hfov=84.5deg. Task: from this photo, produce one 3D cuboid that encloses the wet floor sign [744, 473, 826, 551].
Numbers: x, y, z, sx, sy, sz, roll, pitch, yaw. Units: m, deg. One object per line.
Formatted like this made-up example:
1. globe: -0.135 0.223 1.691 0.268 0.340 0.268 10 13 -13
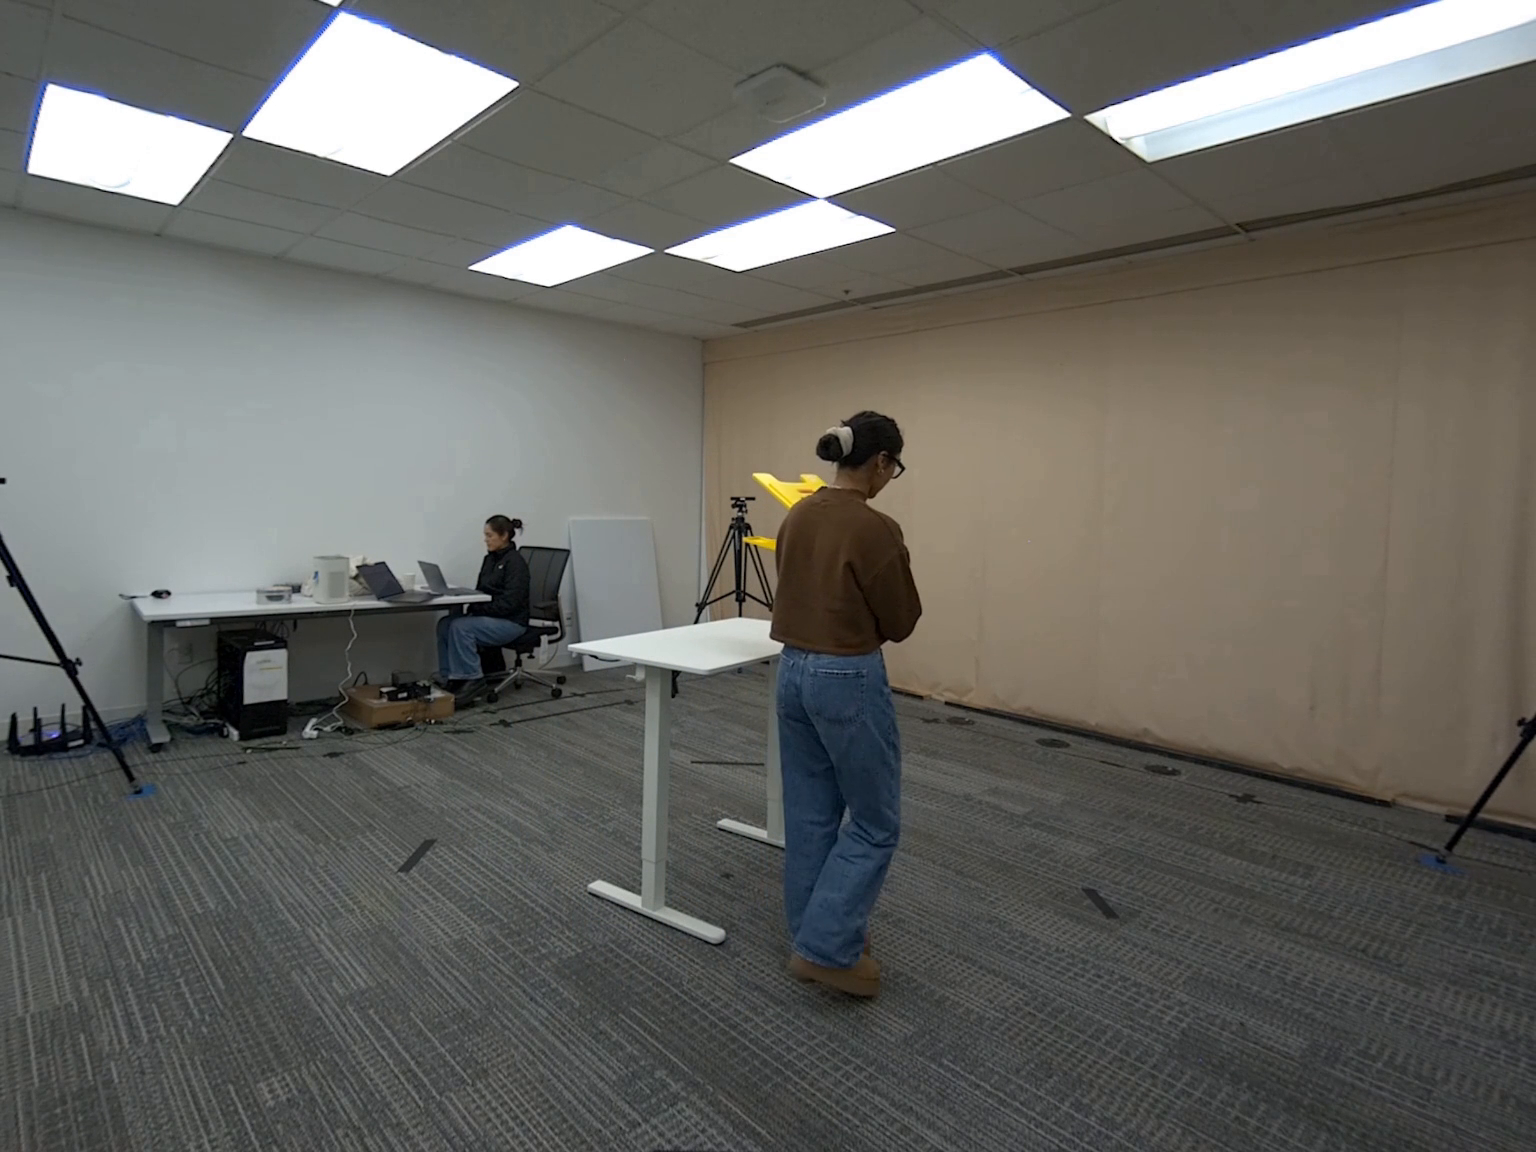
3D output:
1. wet floor sign: 0.207 -0.128 2.839 0.276 0.287 0.666 -2 21 -31
